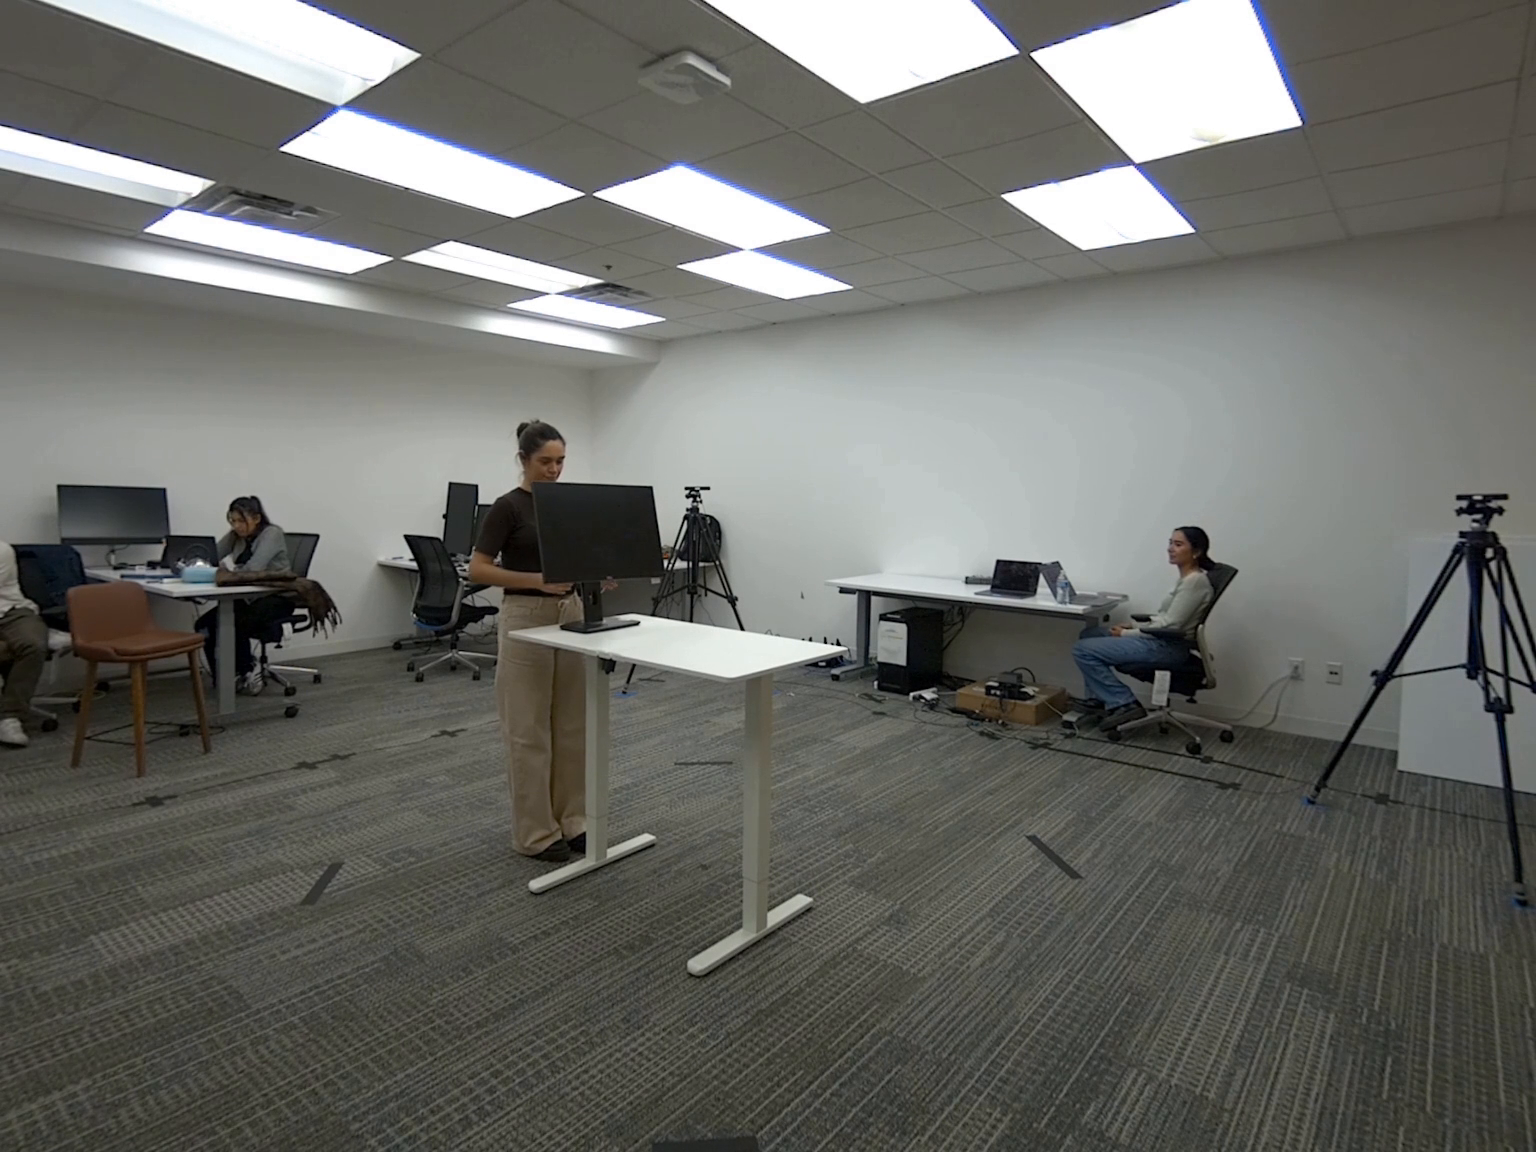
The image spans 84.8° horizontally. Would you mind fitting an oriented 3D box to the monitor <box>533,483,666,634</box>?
[{"bbox_3d":[-0.627,-0.071,3.048,0.193,0.522,0.523,1,2,41],"label":"monitor"}]
